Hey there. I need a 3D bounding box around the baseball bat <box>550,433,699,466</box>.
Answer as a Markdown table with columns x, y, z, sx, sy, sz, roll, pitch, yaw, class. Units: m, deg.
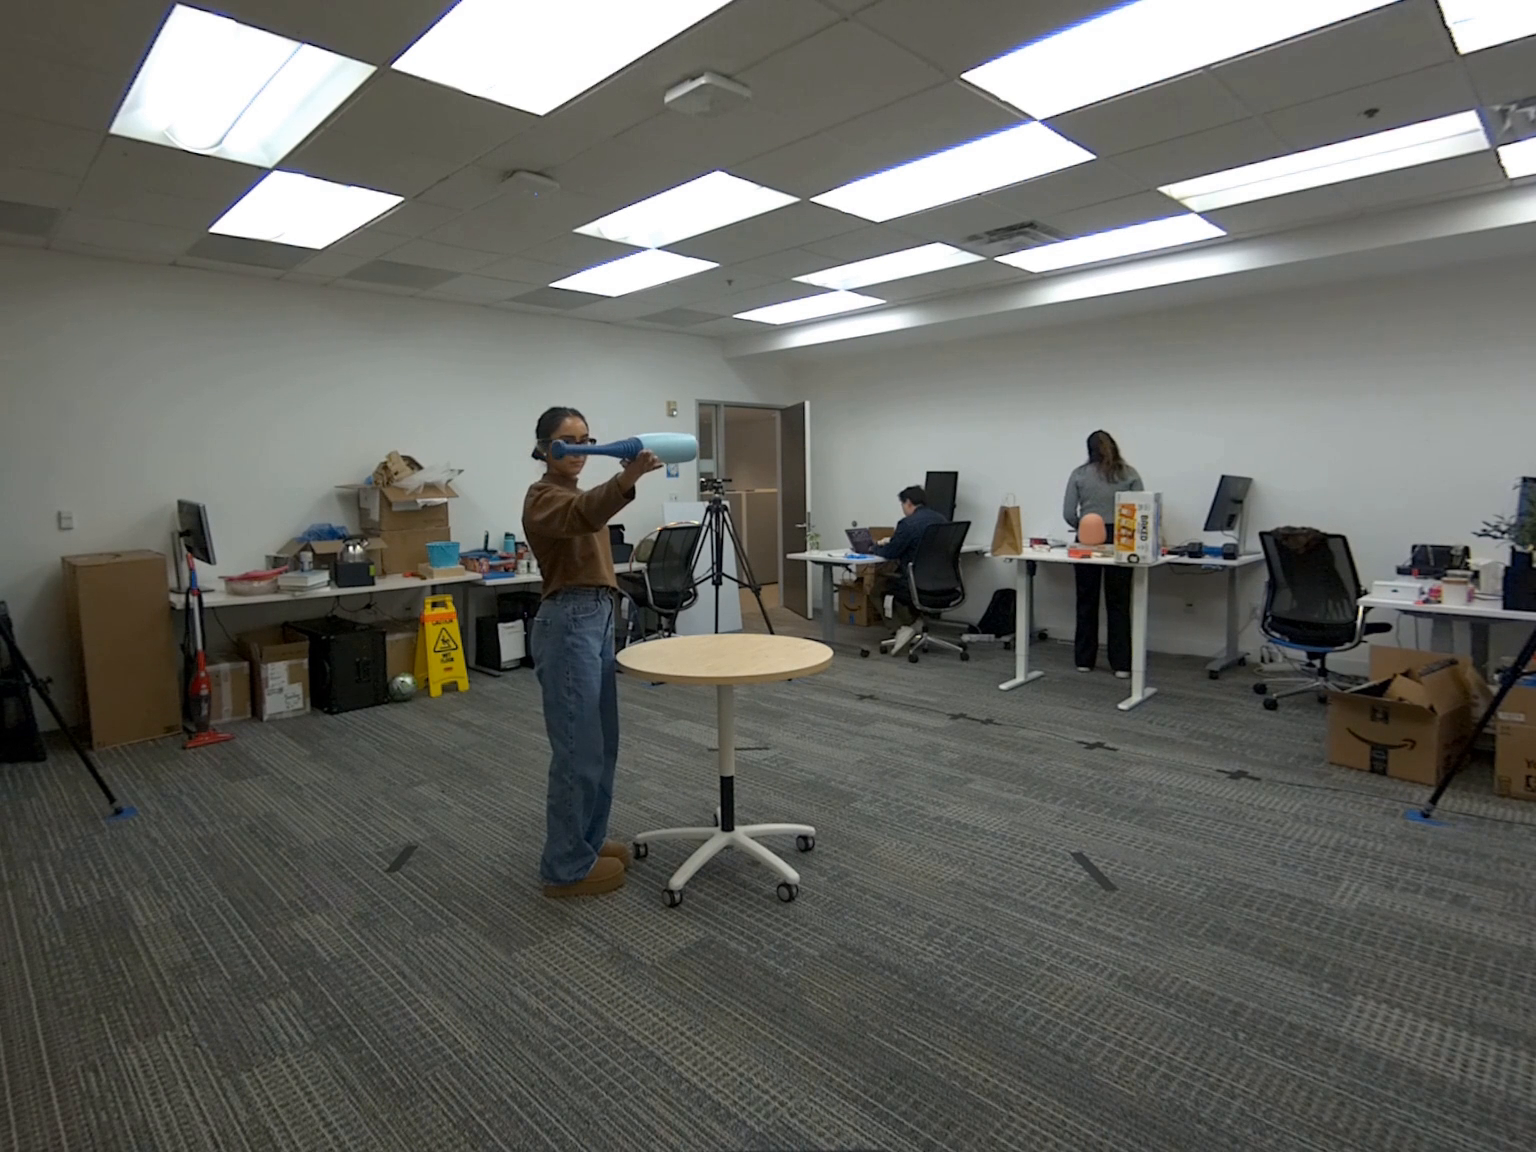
| x | y | z | sx | sy | sz | roll | pitch | yaw | class |
| --- | --- | --- | --- | --- | --- | --- | --- | --- | --- |
| -0.375 | -0.347 | 2.338 | 0.091 | 0.088 | 0.531 | 2 | 9 | 33 | baseball bat |
